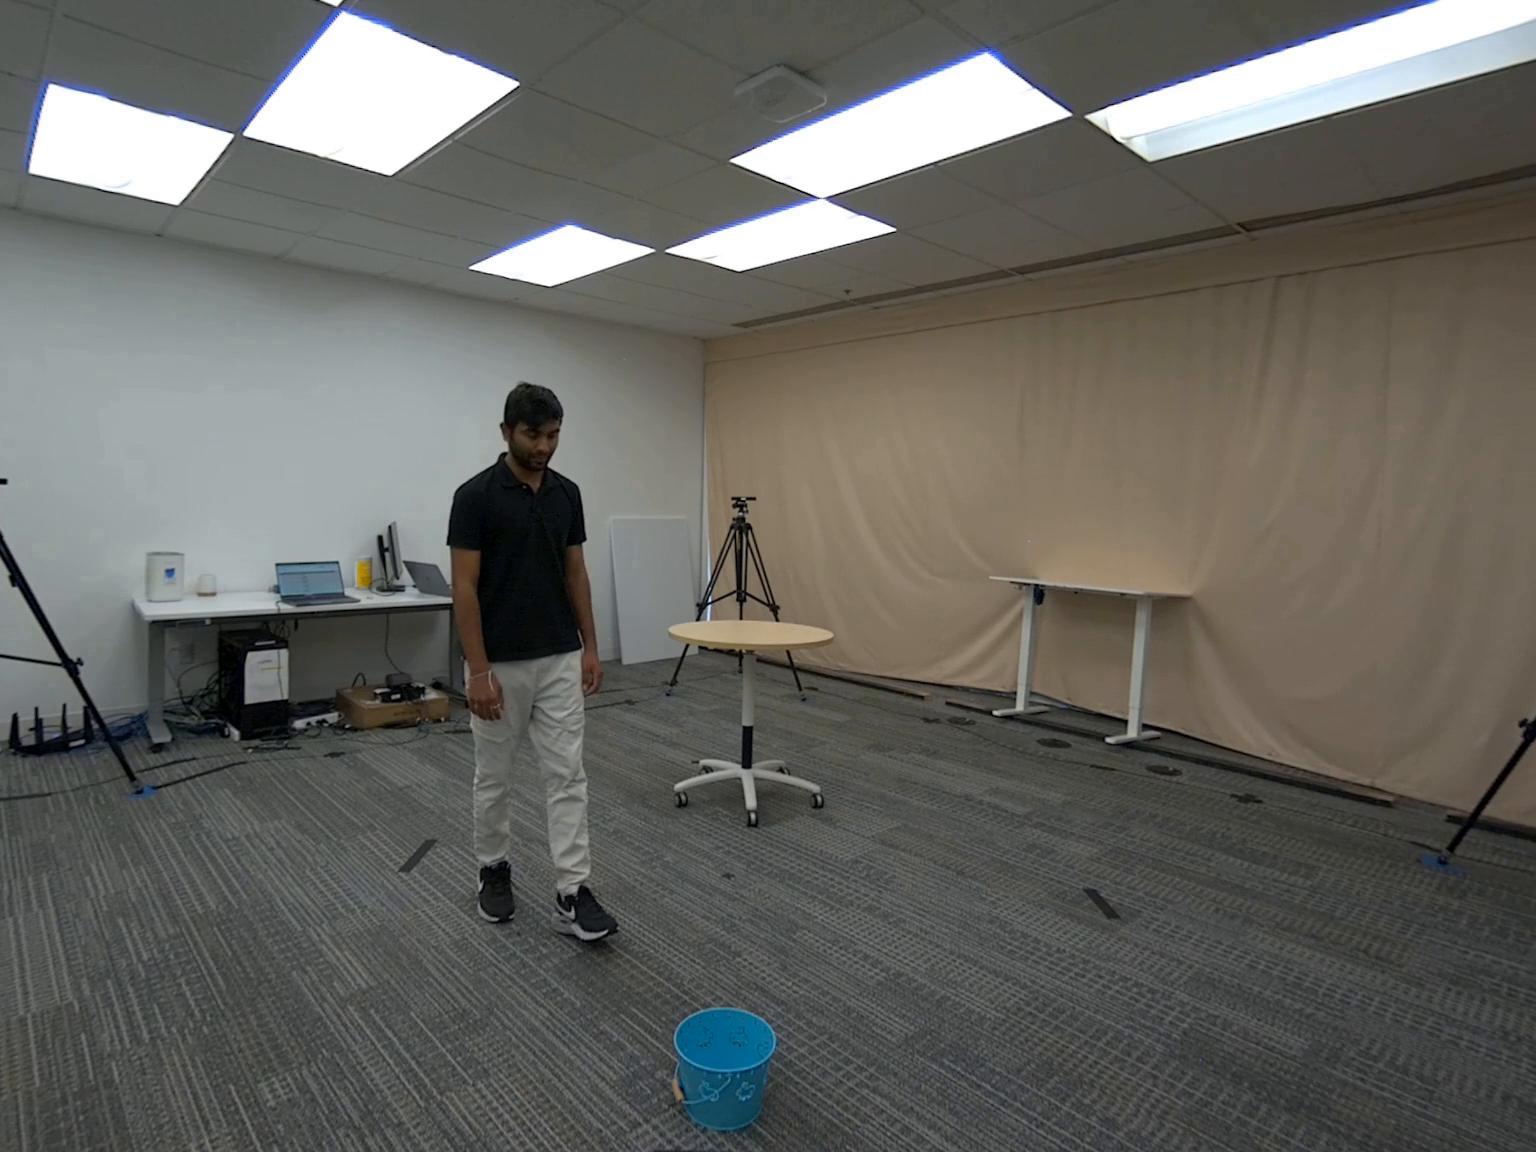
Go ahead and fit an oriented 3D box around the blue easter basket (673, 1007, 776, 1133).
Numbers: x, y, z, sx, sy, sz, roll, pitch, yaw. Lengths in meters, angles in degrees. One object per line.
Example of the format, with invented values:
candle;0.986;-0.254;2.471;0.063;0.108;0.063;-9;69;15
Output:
blue easter basket;-0.115;1.144;1.939;0.243;0.155;0.244;2;4;-2
